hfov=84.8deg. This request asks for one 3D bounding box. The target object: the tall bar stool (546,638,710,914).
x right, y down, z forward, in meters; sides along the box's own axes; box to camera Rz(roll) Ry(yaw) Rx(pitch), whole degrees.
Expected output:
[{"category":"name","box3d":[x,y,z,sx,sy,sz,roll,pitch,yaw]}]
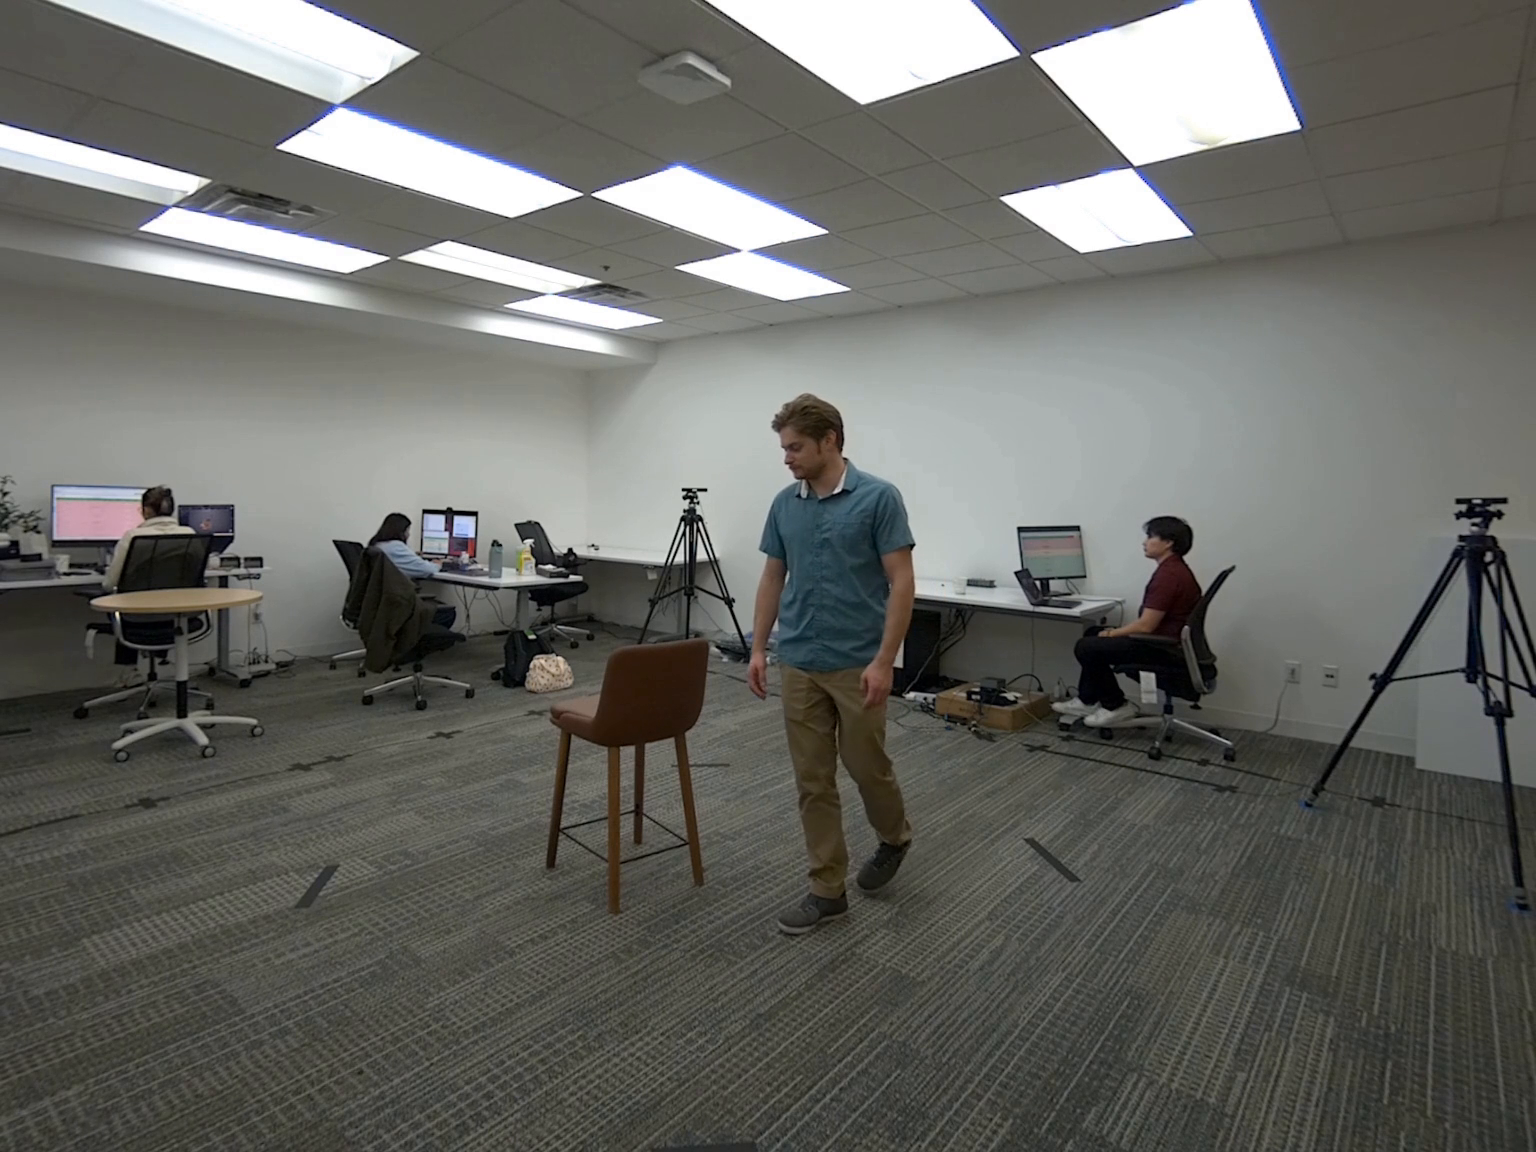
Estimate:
[{"category":"tall bar stool","box3d":[-0.509,0.636,3.030,0.443,0.886,0.484,-1,5,-40]}]
